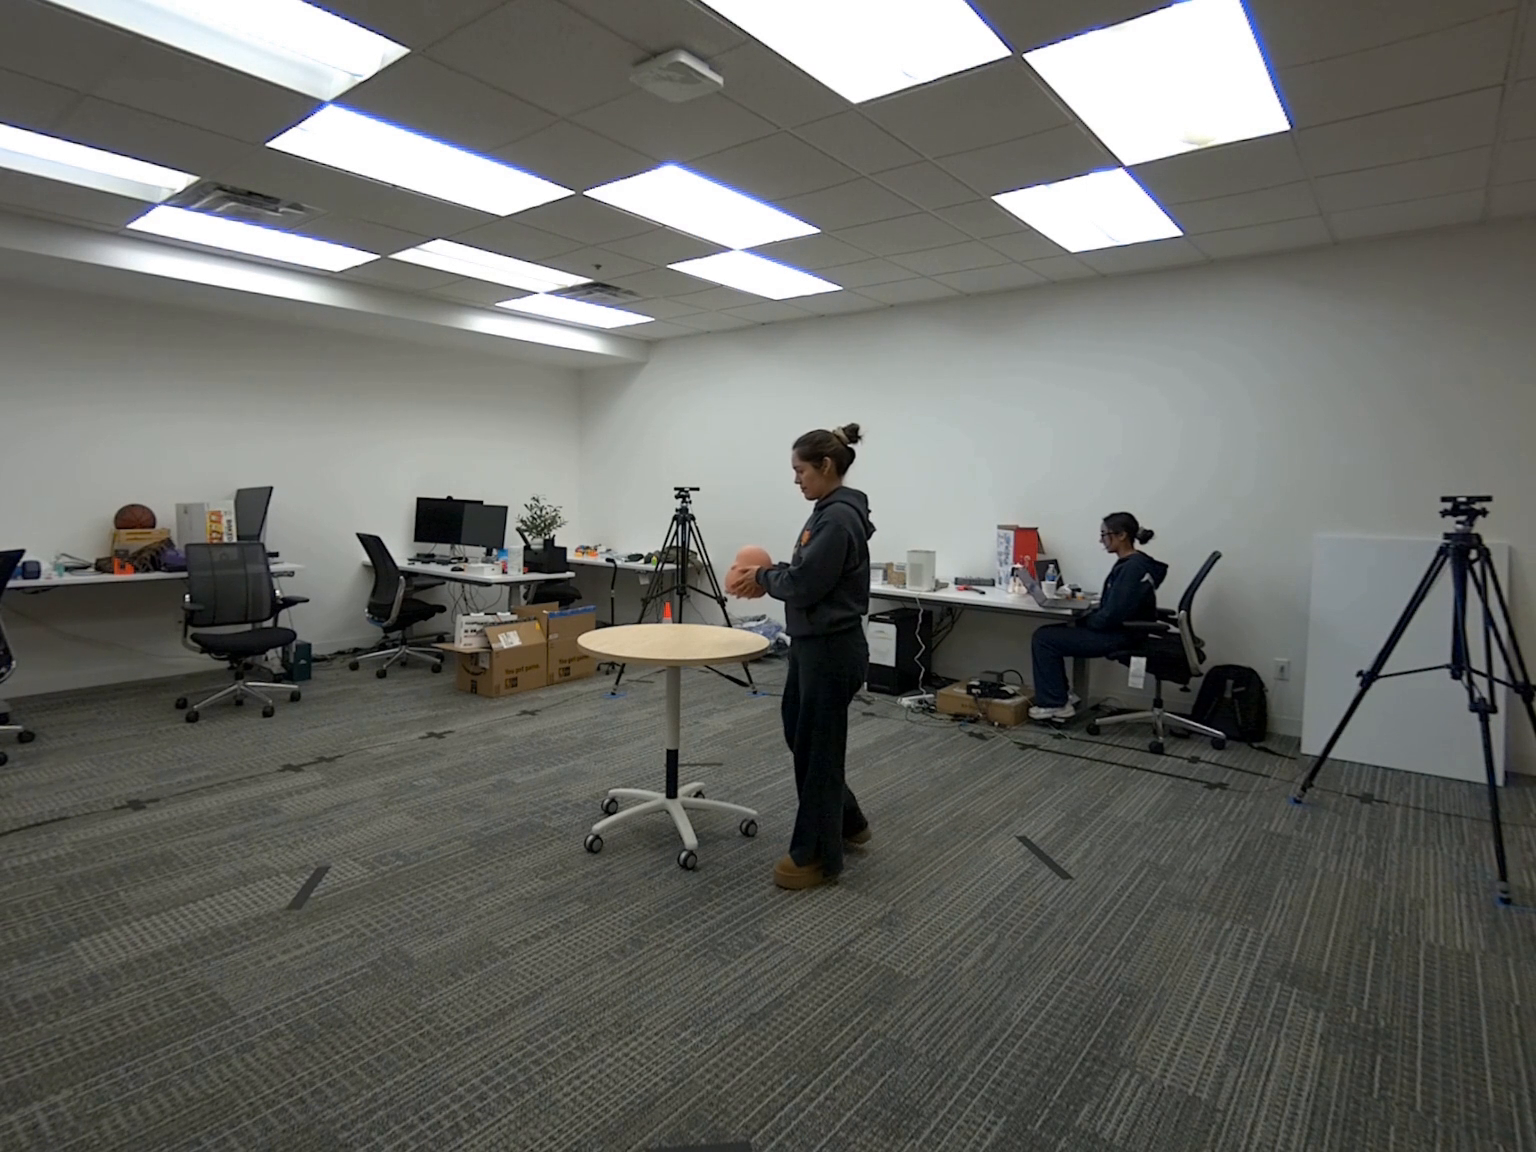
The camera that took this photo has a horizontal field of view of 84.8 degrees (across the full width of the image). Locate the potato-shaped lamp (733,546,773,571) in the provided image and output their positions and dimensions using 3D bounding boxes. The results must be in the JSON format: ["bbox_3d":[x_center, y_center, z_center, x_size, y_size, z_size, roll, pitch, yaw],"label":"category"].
[{"bbox_3d":[-0.069,-0.021,3.213,0.175,0.198,0.161,5,0,18],"label":"potato-shaped lamp"}]
